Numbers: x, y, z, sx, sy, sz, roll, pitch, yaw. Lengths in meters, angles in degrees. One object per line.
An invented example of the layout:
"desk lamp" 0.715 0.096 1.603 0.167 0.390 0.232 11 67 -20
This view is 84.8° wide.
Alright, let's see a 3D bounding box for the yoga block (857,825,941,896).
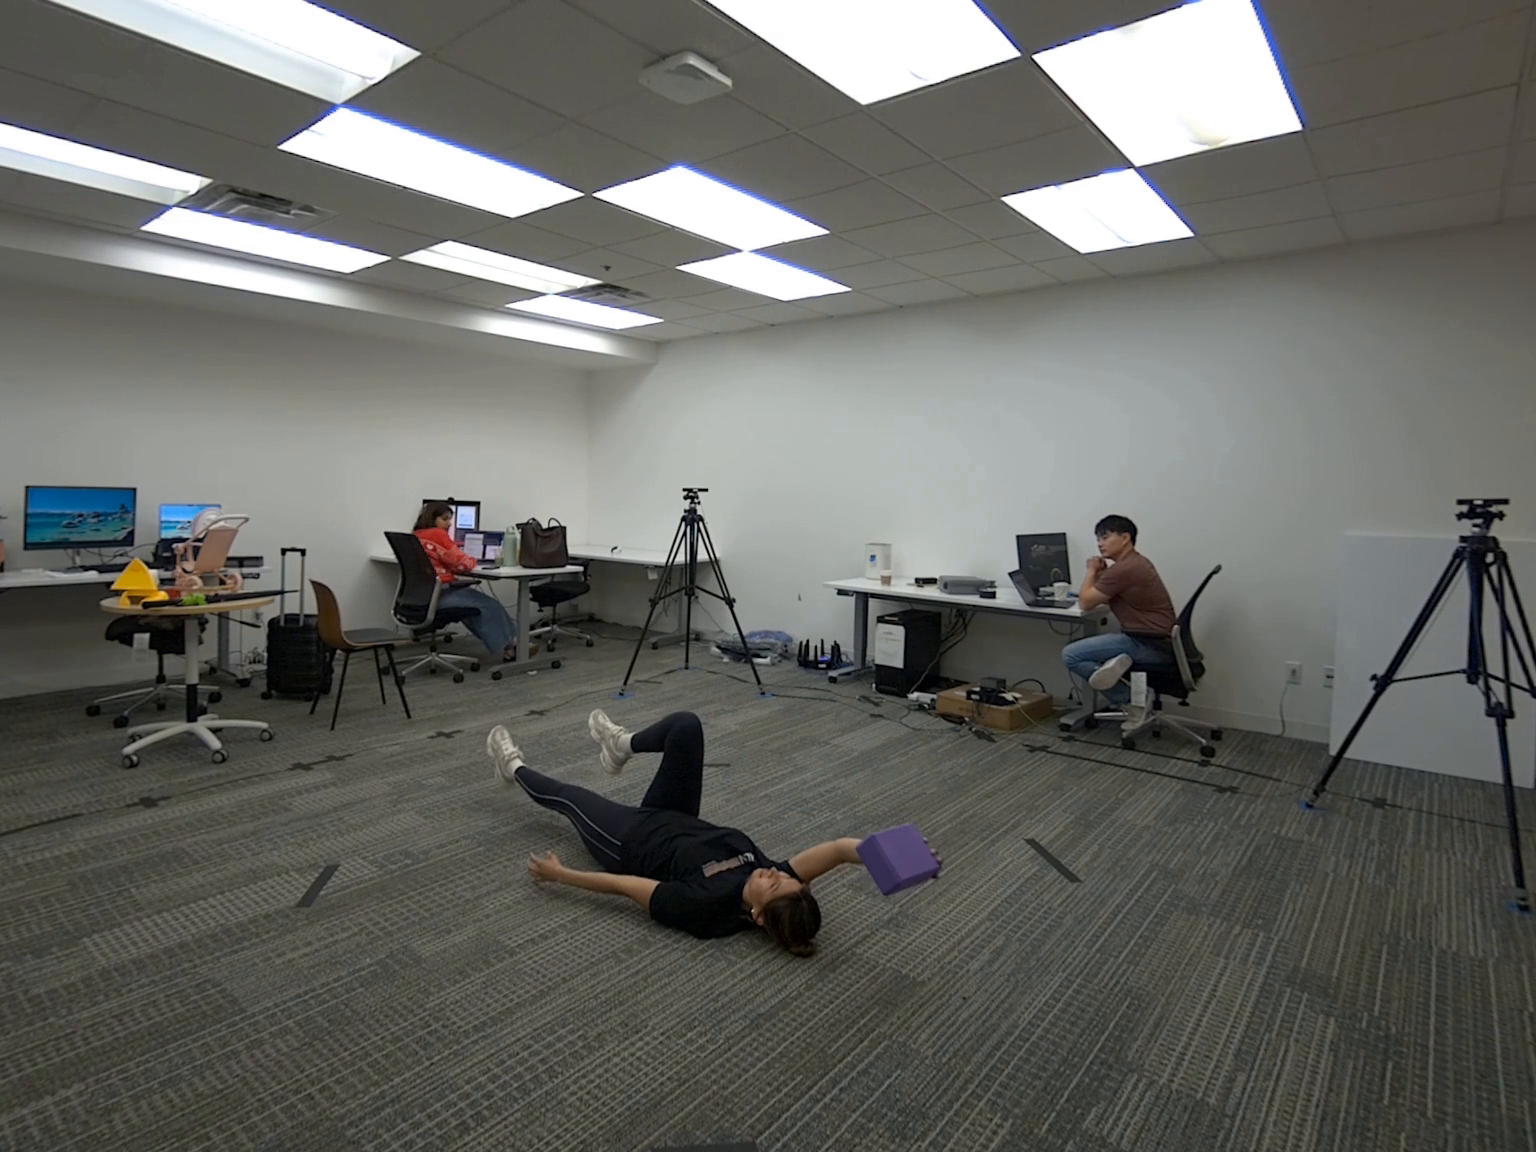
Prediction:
"yoga block" 0.351 0.766 2.330 0.221 0.076 0.154 8 39 -50
